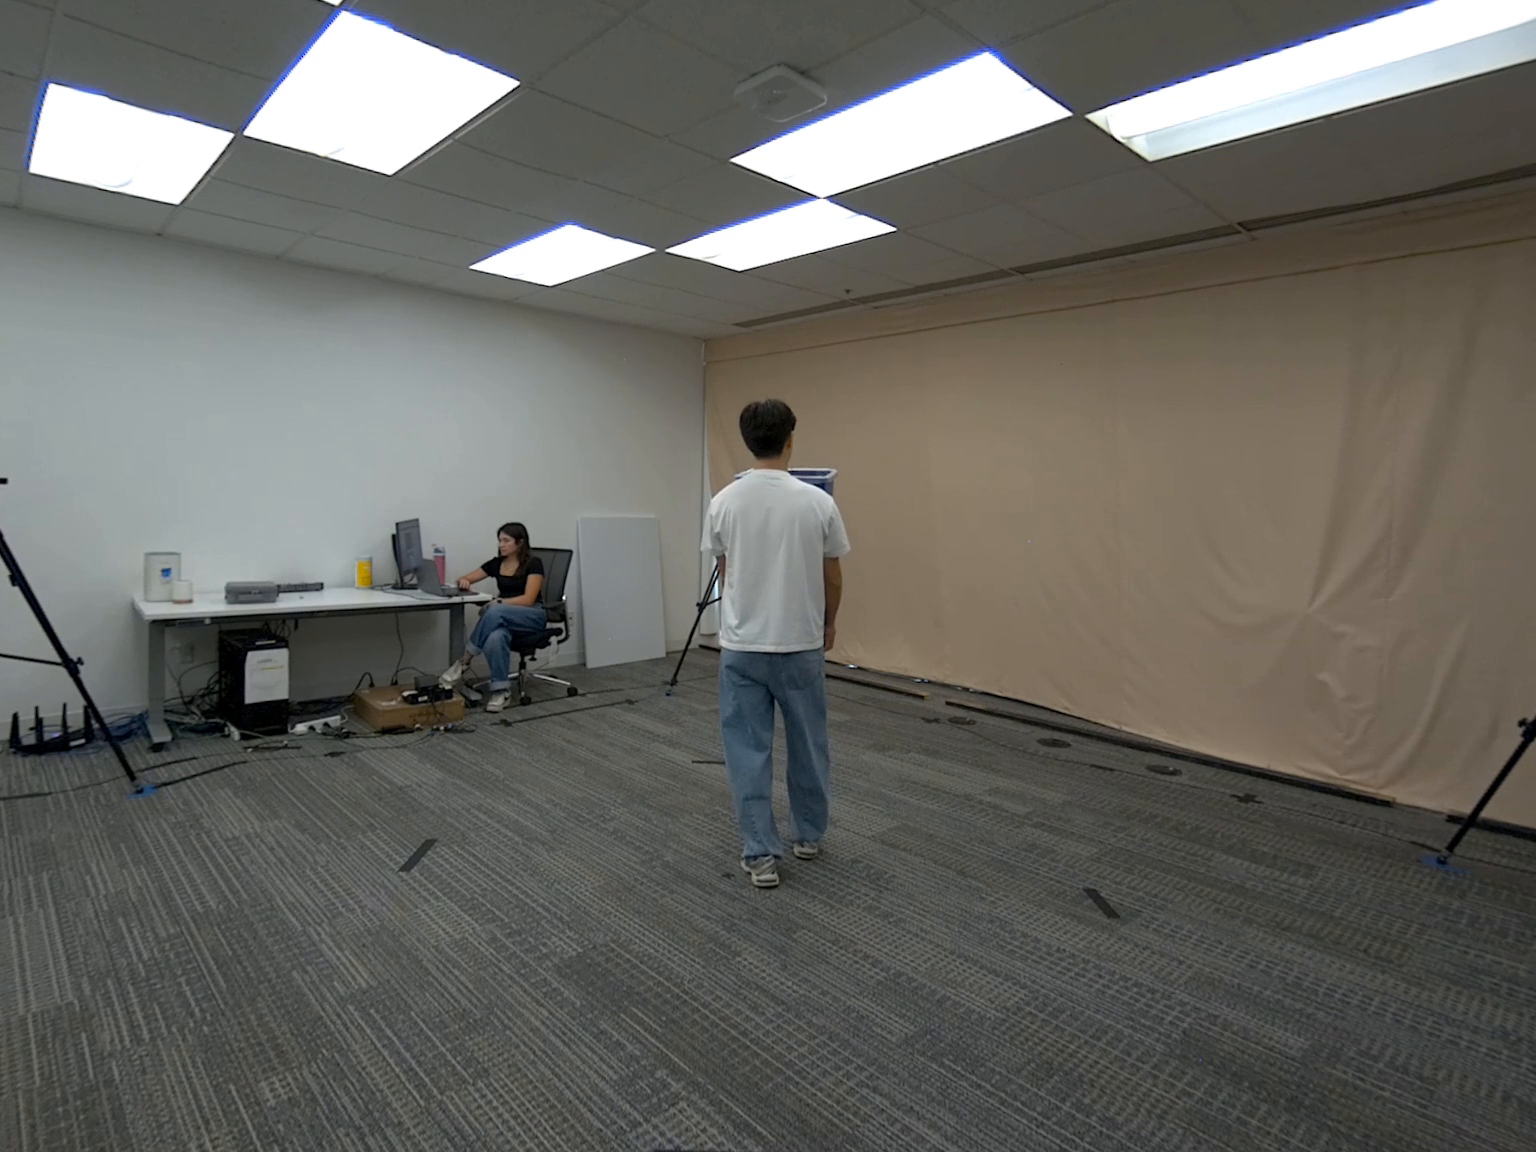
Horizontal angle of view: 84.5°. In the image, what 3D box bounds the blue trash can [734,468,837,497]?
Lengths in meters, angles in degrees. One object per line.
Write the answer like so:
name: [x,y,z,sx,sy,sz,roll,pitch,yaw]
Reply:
blue trash can: [0.076,-0.066,3.396,0.378,0.708,0.377,1,10,11]
